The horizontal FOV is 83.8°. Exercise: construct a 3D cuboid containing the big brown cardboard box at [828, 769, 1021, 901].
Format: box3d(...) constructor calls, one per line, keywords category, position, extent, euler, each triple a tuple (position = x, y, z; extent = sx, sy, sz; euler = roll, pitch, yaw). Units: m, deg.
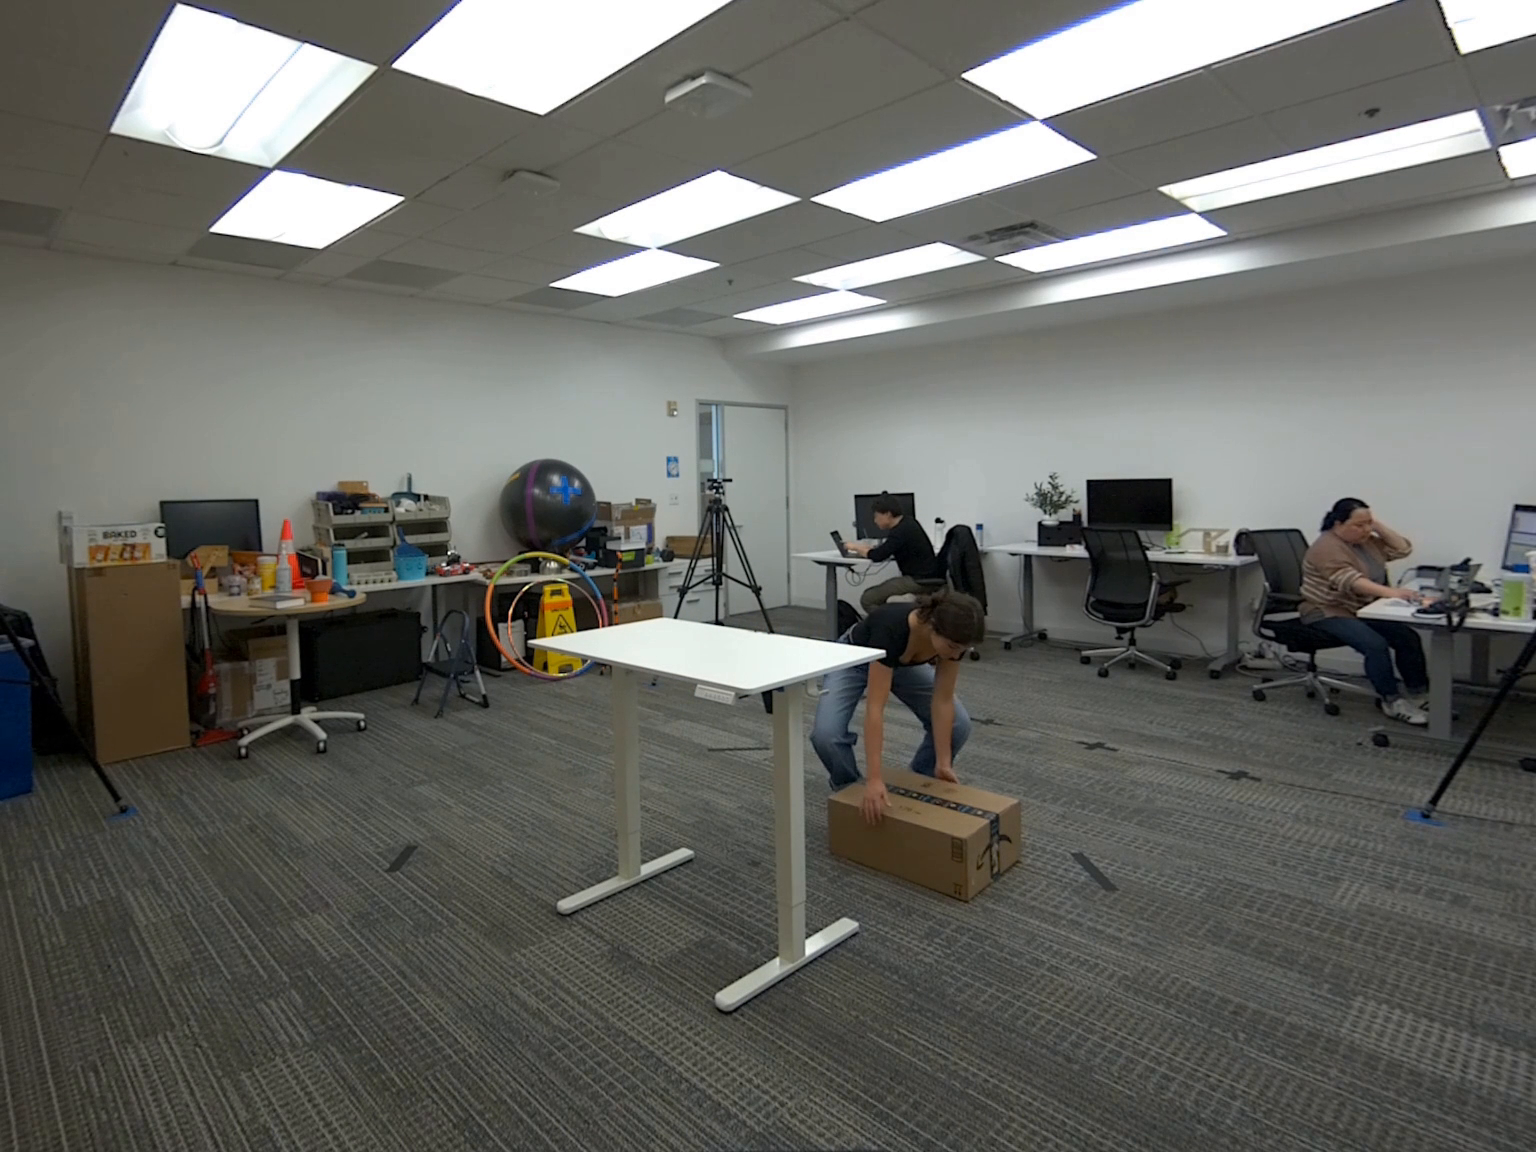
box3d(category="big brown cardboard box", position=(0.572, 0.922, 3.122), extent=(0.607, 0.232, 0.407), euler=(5, 10, 43))
